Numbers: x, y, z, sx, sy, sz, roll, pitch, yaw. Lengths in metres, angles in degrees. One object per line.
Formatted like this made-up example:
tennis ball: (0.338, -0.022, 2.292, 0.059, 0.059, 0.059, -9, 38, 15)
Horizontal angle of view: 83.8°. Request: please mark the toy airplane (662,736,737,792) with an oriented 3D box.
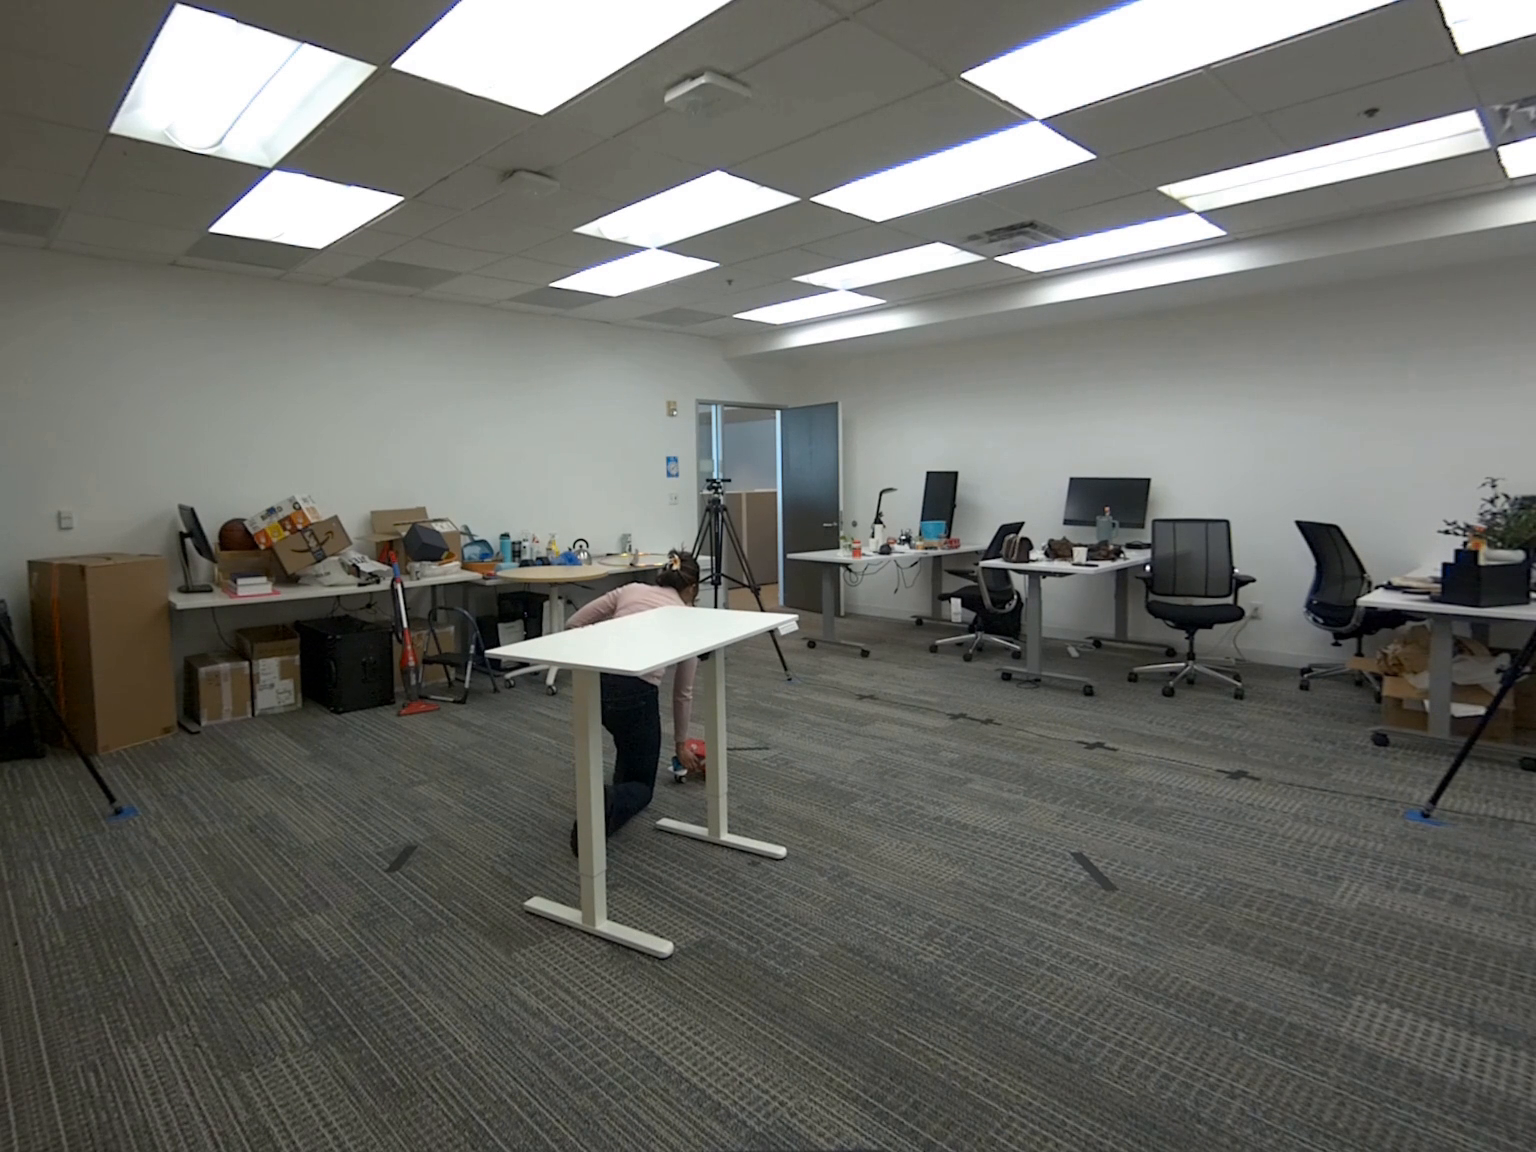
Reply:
toy airplane: (-0.319, 0.868, 3.987, 0.256, 0.156, 0.254, 0, 4, 24)
